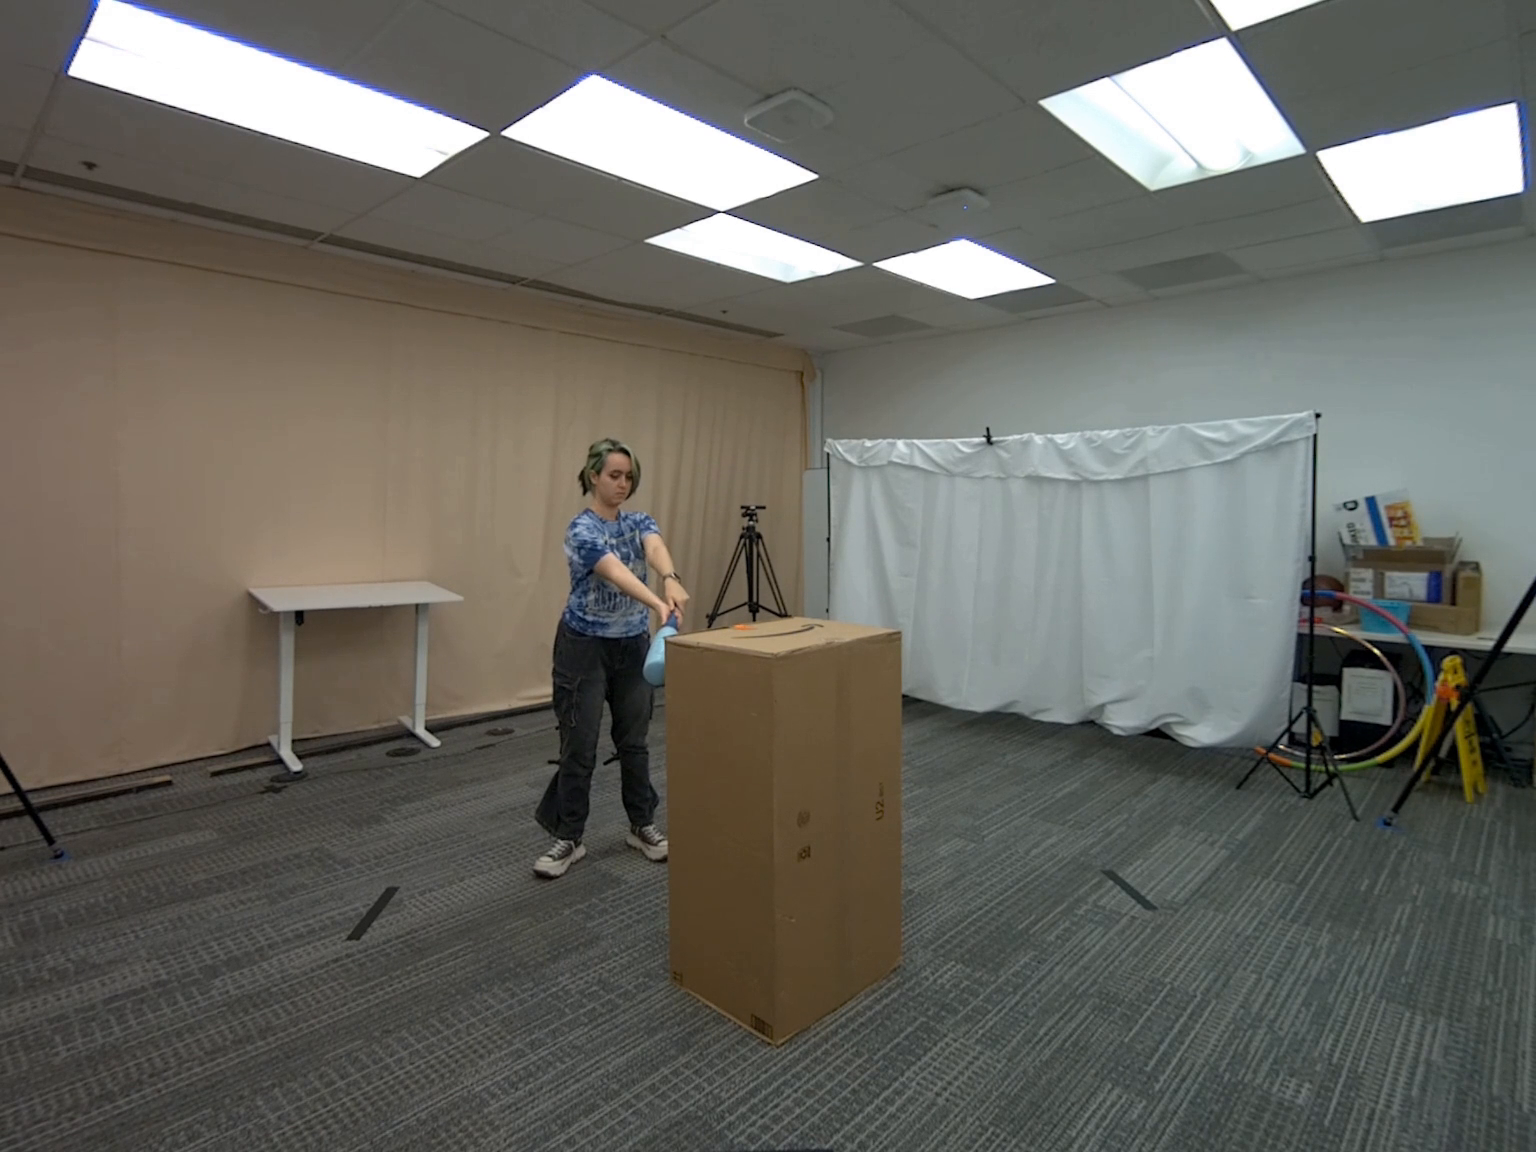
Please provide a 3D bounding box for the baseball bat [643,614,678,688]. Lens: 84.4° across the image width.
[{"bbox_3d":[-0.326,0.178,2.716,0.089,0.088,0.548,0,23,2],"label":"baseball bat"}]
